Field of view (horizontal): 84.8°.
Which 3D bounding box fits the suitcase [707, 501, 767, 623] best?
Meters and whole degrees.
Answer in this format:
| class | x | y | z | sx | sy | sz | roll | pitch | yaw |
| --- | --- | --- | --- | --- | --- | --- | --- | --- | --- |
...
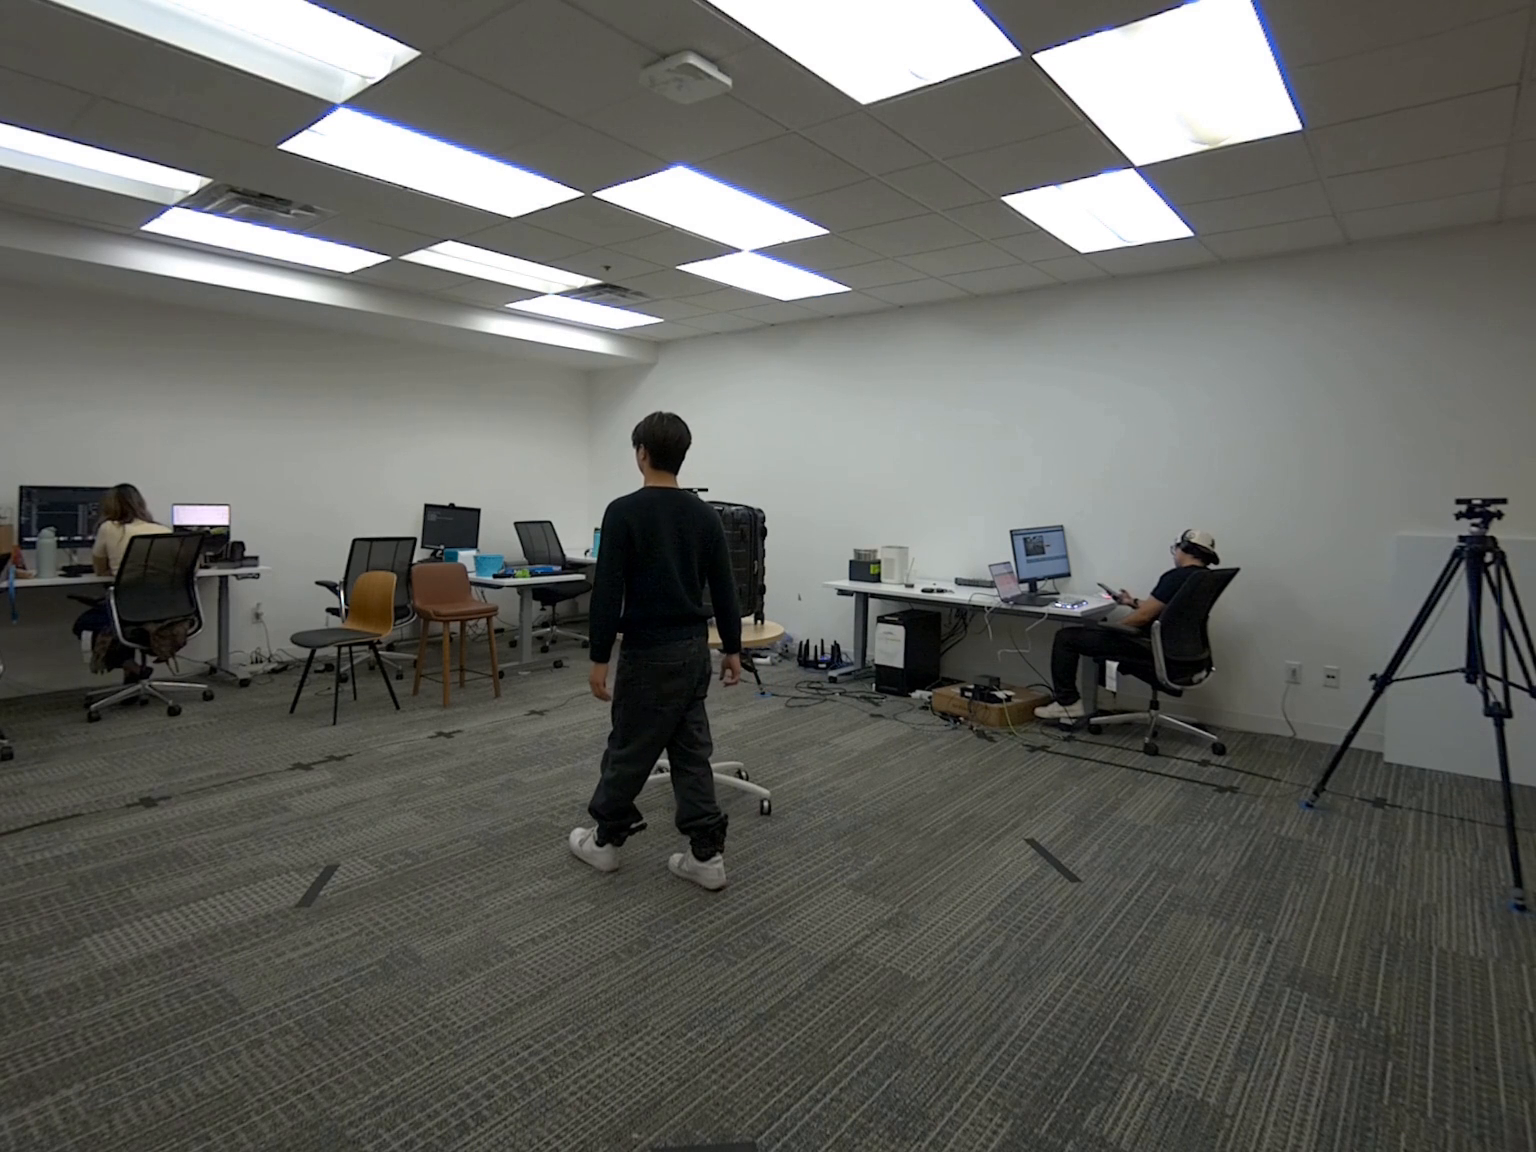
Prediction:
| class | x | y | z | sx | sy | sz | roll | pitch | yaw |
| --- | --- | --- | --- | --- | --- | --- | --- | --- | --- |
| suitcase | -0.220 | -0.064 | 3.843 | 0.388 | 0.547 | 0.241 | 4 | 5 | 36 |
